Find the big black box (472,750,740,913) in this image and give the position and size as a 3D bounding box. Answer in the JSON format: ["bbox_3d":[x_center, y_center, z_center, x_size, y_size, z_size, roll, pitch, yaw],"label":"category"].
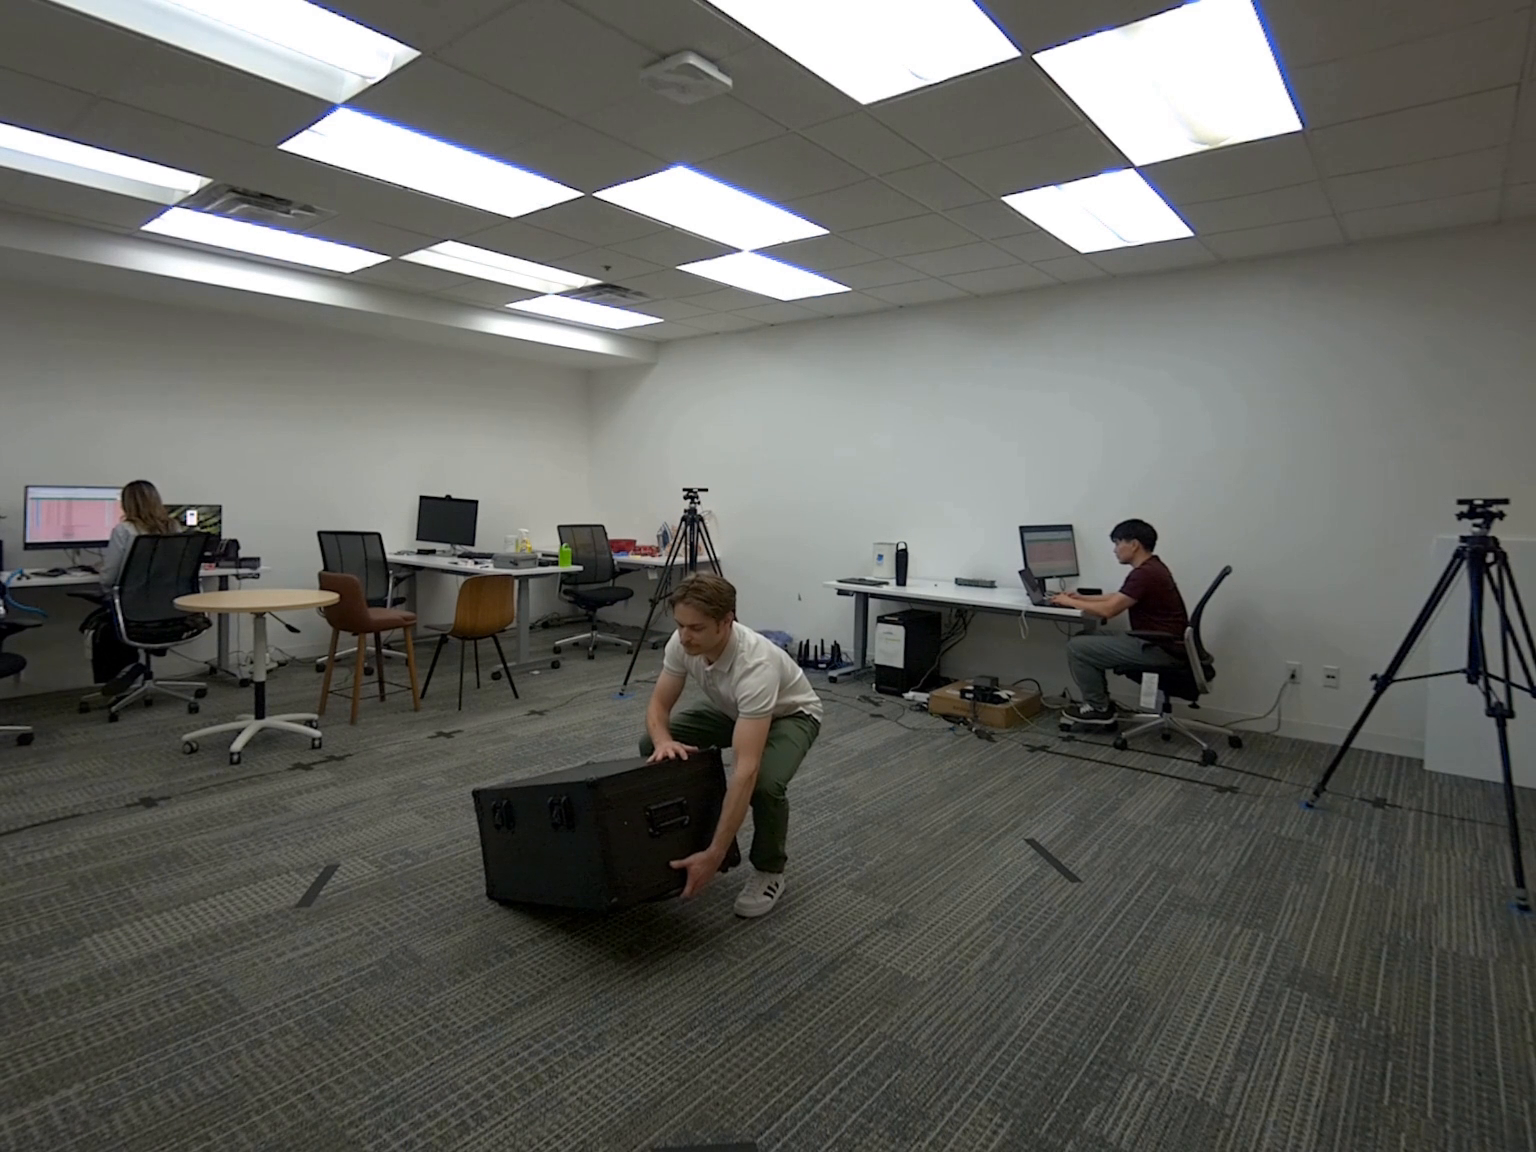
[{"bbox_3d":[-0.586,0.819,2.788,0.508,0.389,0.885,-5,-9,-41],"label":"big black box"}]
